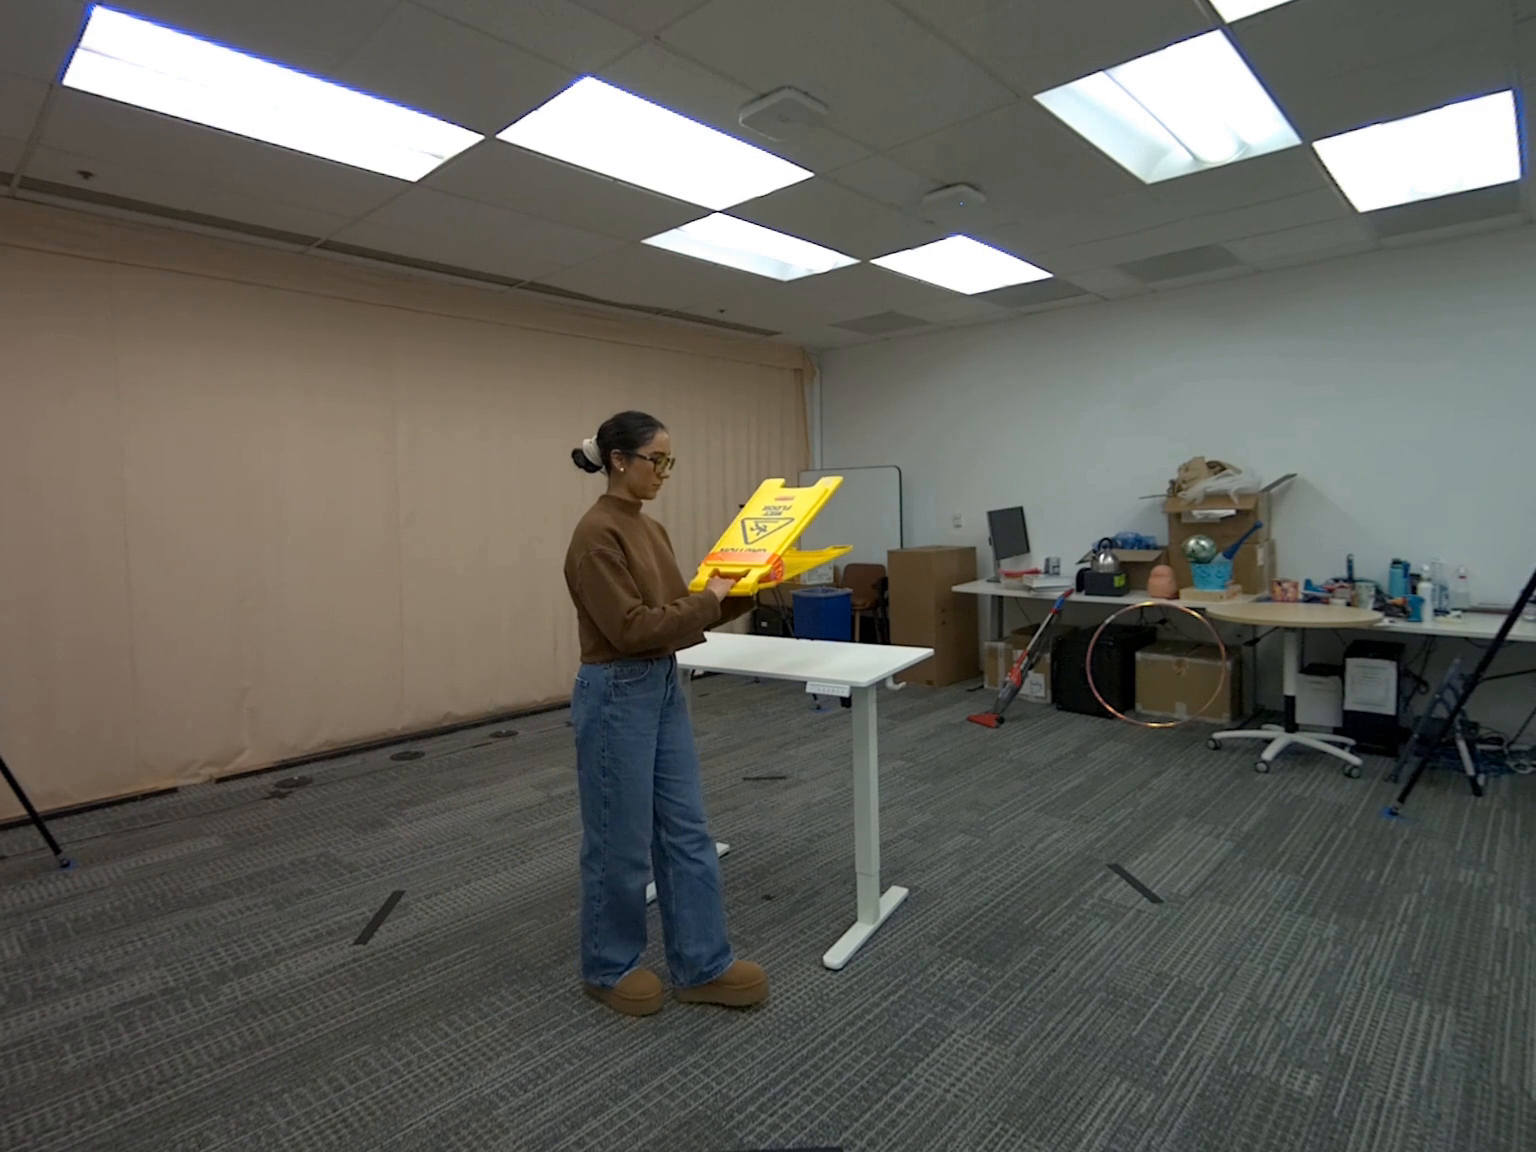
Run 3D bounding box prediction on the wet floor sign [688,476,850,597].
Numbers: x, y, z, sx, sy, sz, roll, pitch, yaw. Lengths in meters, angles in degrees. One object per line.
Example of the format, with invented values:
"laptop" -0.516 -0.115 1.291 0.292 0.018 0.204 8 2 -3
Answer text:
"wet floor sign" 0.014 -0.077 2.524 0.290 0.286 0.638 0 21 27
